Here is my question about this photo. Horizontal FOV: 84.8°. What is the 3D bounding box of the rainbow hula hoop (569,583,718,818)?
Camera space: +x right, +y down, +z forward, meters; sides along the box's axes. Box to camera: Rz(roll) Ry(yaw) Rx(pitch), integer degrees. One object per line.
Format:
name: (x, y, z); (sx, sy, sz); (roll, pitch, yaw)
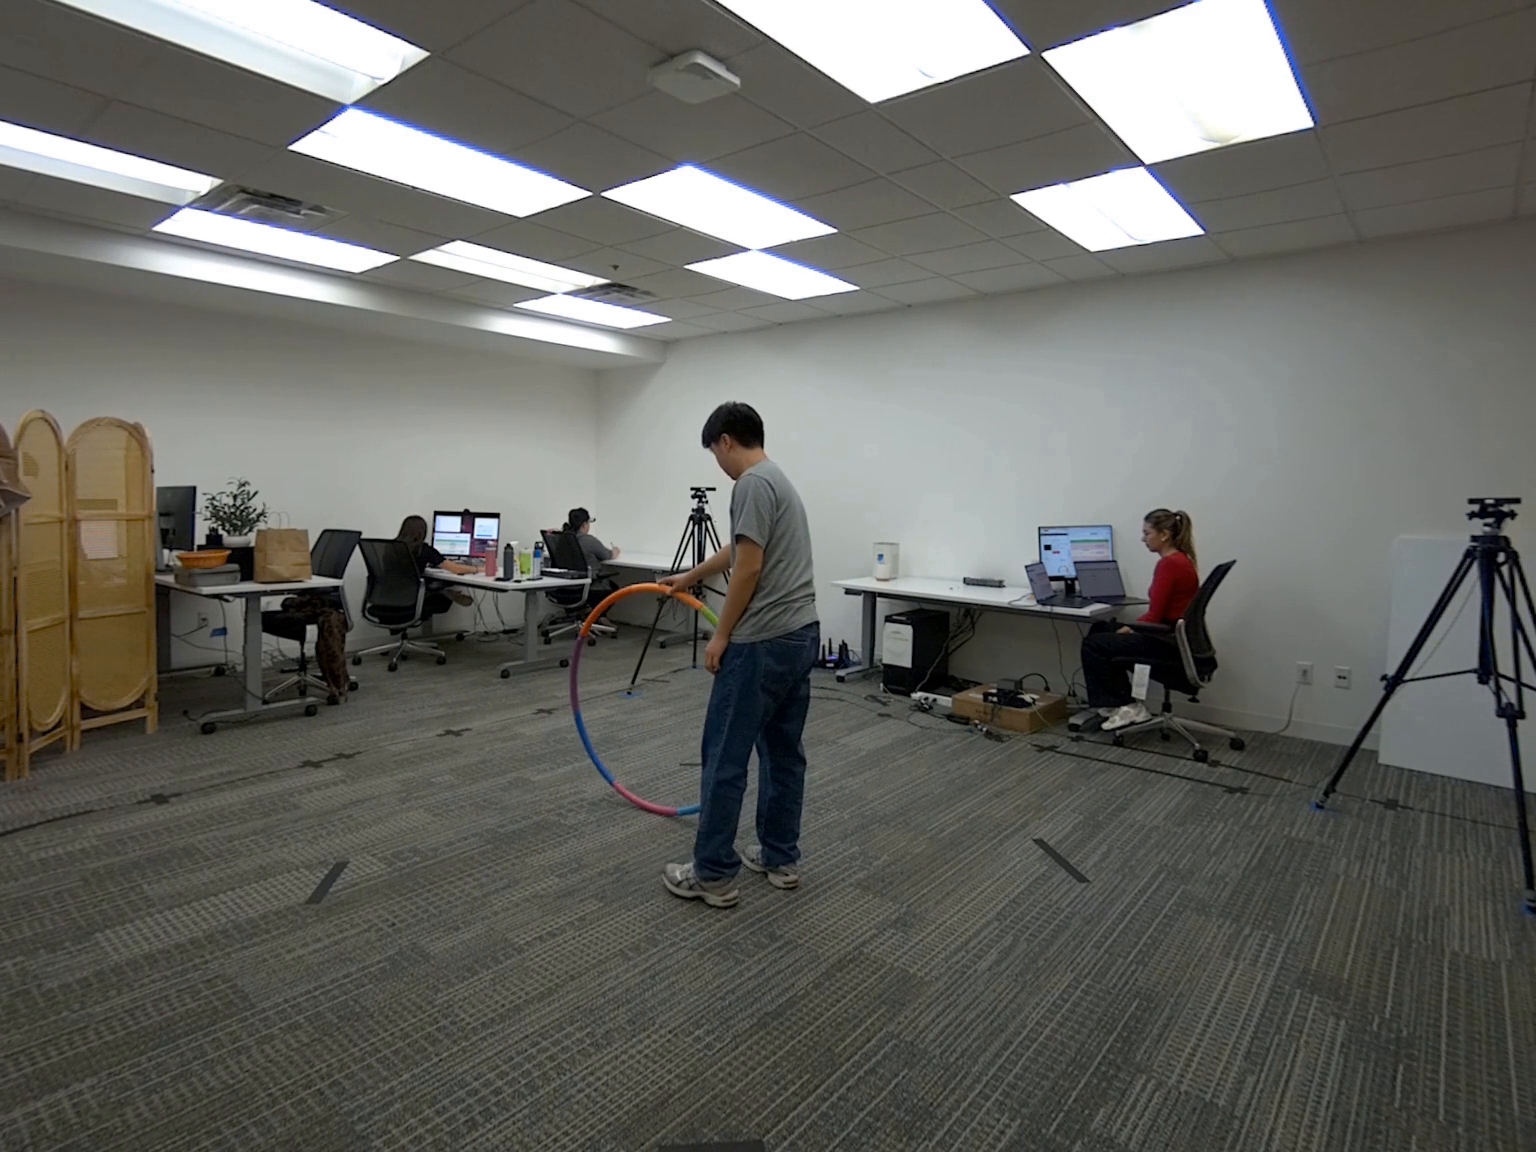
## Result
rainbow hula hoop: (-0.488, 0.522, 3.610); (1.009, 0.975, 0.034); (4, 4, 34)
